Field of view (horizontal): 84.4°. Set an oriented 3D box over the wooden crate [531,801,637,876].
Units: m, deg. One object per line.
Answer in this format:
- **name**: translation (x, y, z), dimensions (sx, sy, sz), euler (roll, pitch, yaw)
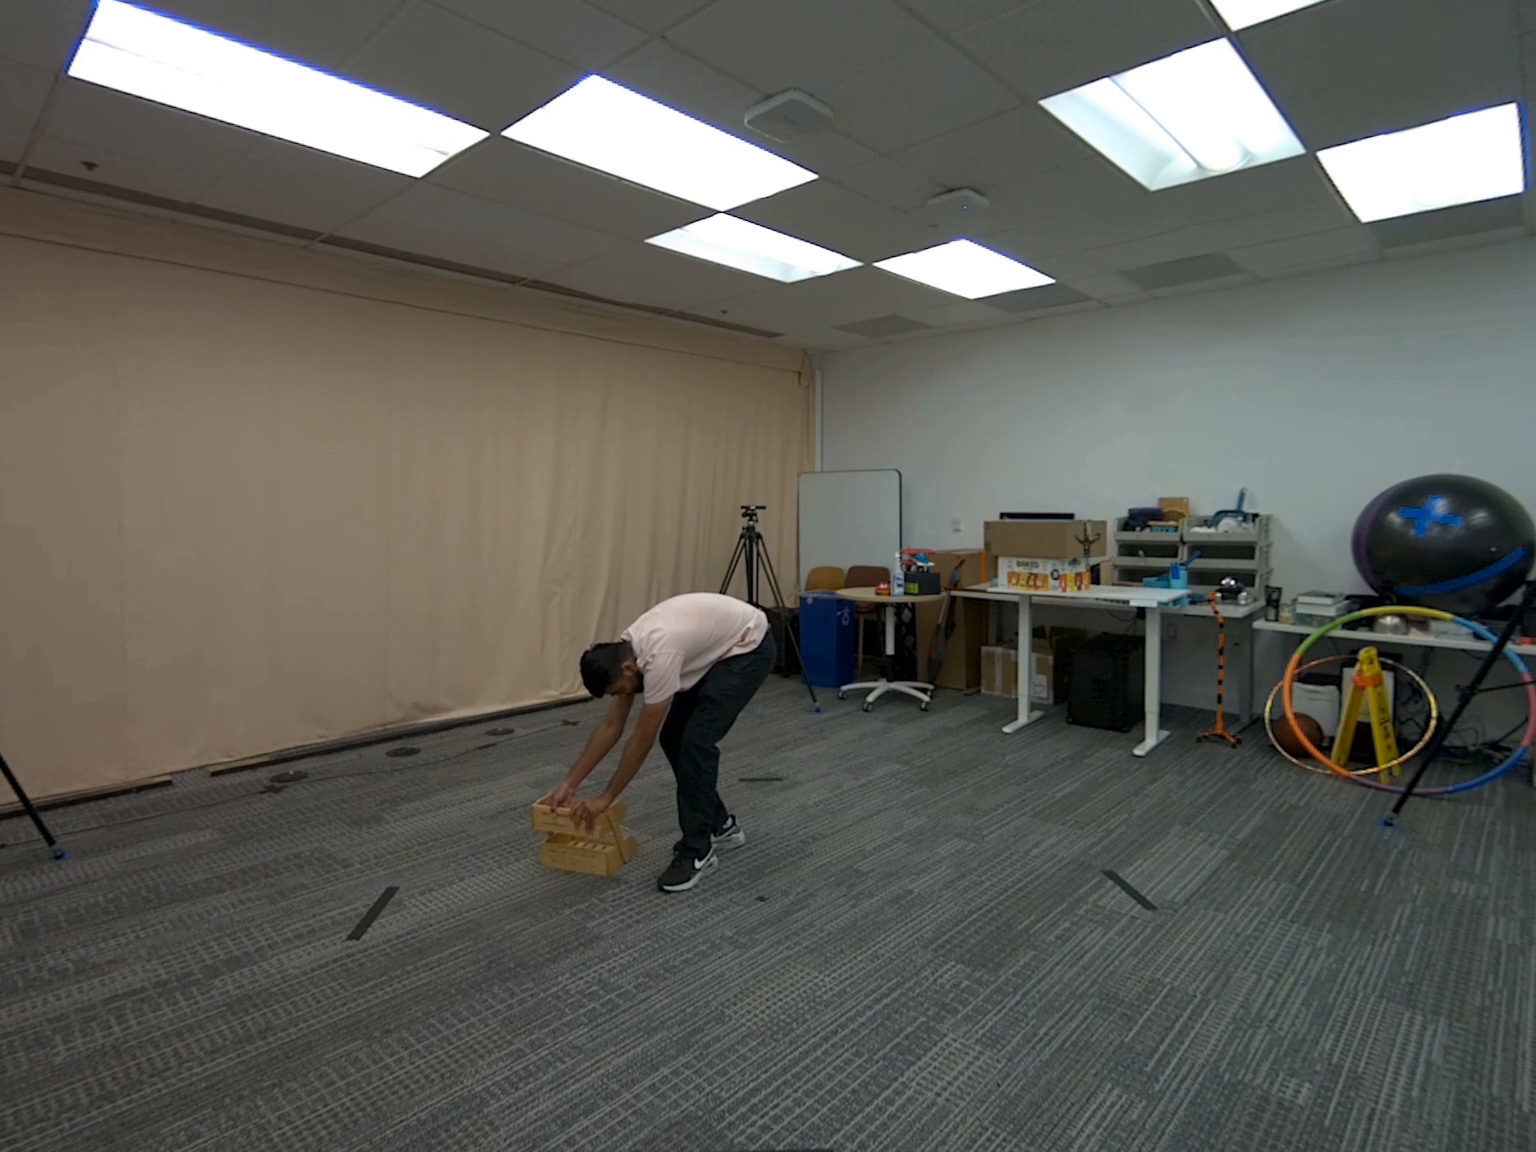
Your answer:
- **wooden crate**: translation (-0.713, 0.991, 3.308), dimensions (0.331, 0.272, 0.297), euler (1, 5, 18)
